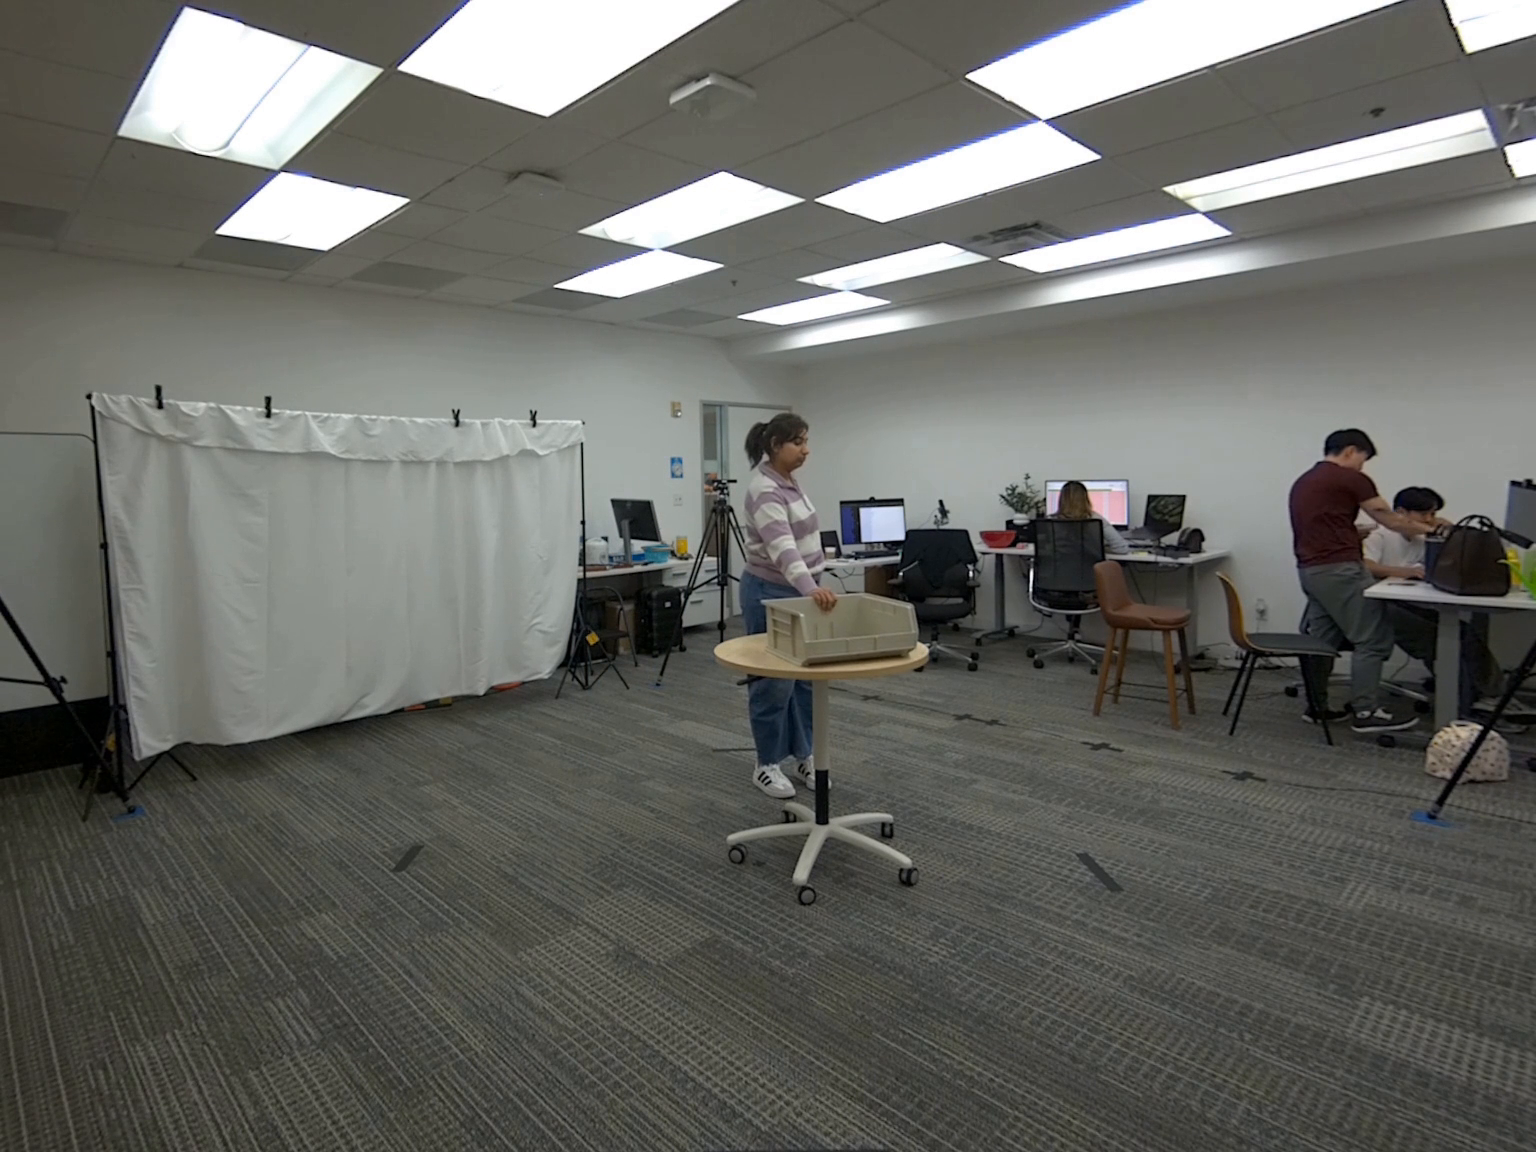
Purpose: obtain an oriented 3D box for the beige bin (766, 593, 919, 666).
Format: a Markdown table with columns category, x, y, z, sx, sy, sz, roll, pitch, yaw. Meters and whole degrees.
| category | x | y | z | sx | sy | sz | roll | pitch | yaw |
| --- | --- | --- | --- | --- | --- | --- | --- | --- | --- |
| beige bin | 0.241 | 0.187 | 2.969 | 0.415 | 0.188 | 0.385 | -4 | 5 | -20 |
